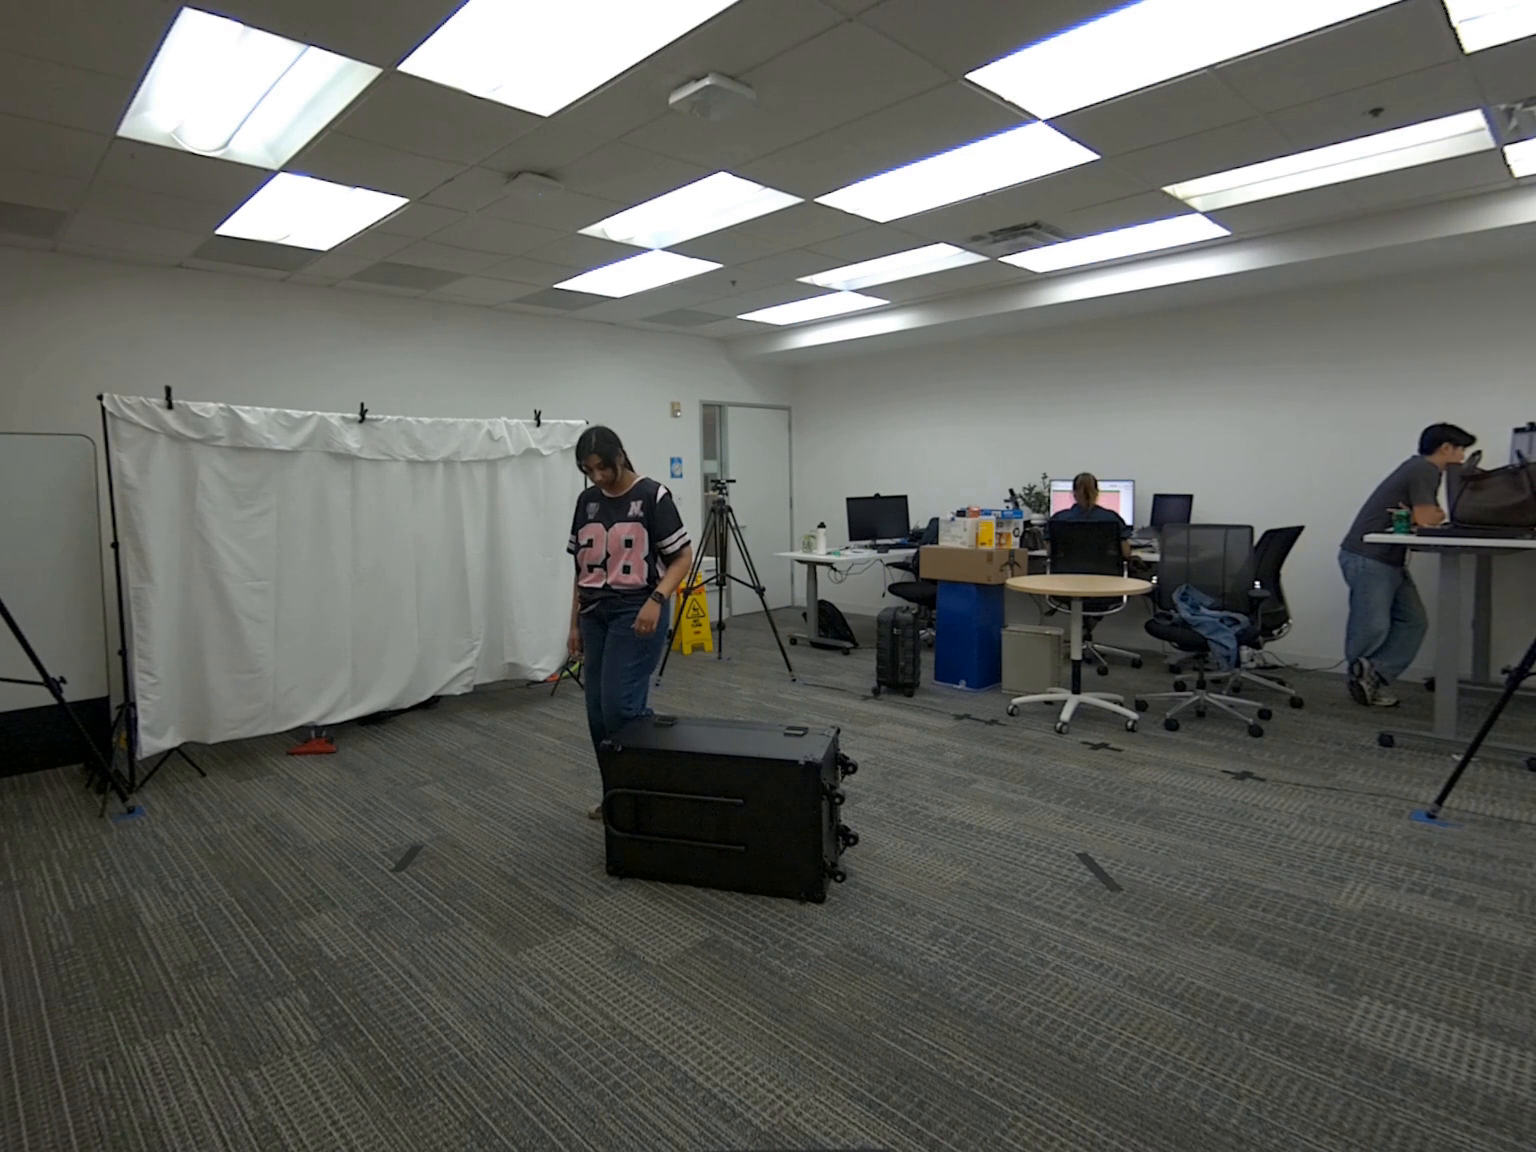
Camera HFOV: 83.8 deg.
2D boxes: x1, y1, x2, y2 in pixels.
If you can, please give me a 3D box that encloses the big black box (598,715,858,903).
[{"bbox_3d":[-0.123,0.799,3.042,0.883,0.521,0.381,1,6,17],"label":"big black box"}]
